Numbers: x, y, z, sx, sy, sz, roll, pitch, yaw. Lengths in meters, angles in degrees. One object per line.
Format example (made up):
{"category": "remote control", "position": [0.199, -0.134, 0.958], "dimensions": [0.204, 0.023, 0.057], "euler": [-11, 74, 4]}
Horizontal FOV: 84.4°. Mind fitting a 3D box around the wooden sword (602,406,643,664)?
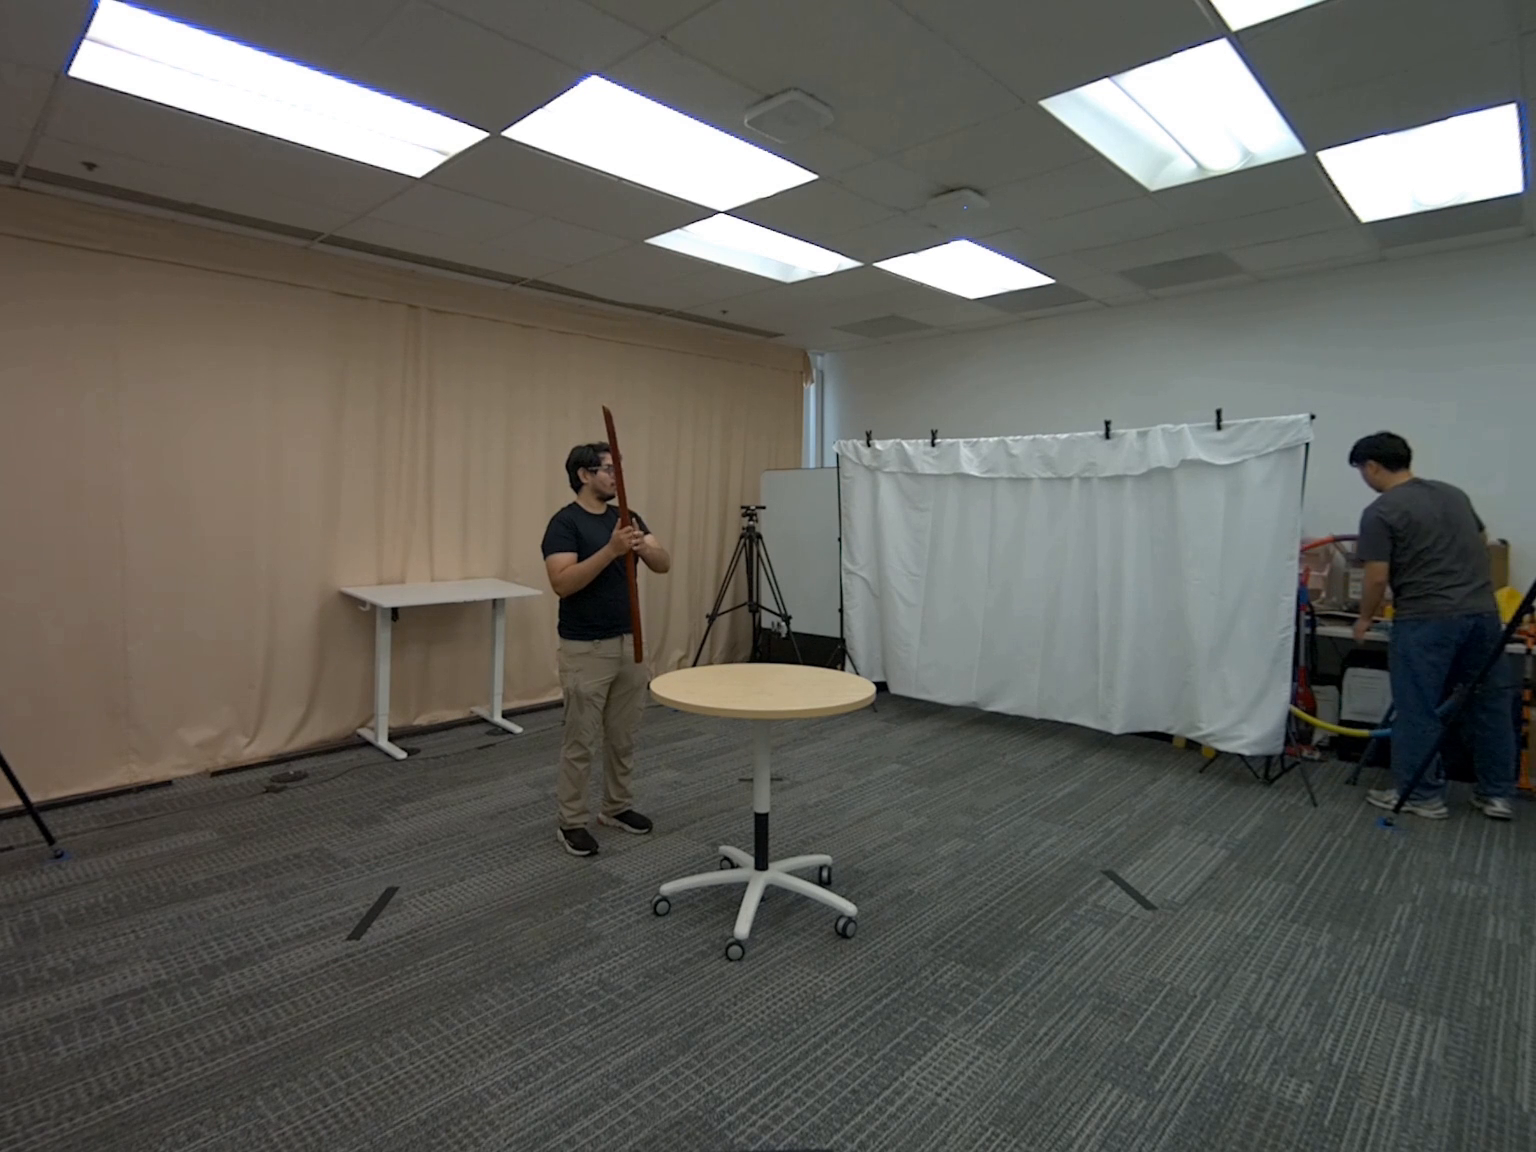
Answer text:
{"category": "wooden sword", "position": [-0.555, -0.145, 3.234], "dimensions": [0.024, 1.012, 0.052], "euler": [-8, 17, -8]}
